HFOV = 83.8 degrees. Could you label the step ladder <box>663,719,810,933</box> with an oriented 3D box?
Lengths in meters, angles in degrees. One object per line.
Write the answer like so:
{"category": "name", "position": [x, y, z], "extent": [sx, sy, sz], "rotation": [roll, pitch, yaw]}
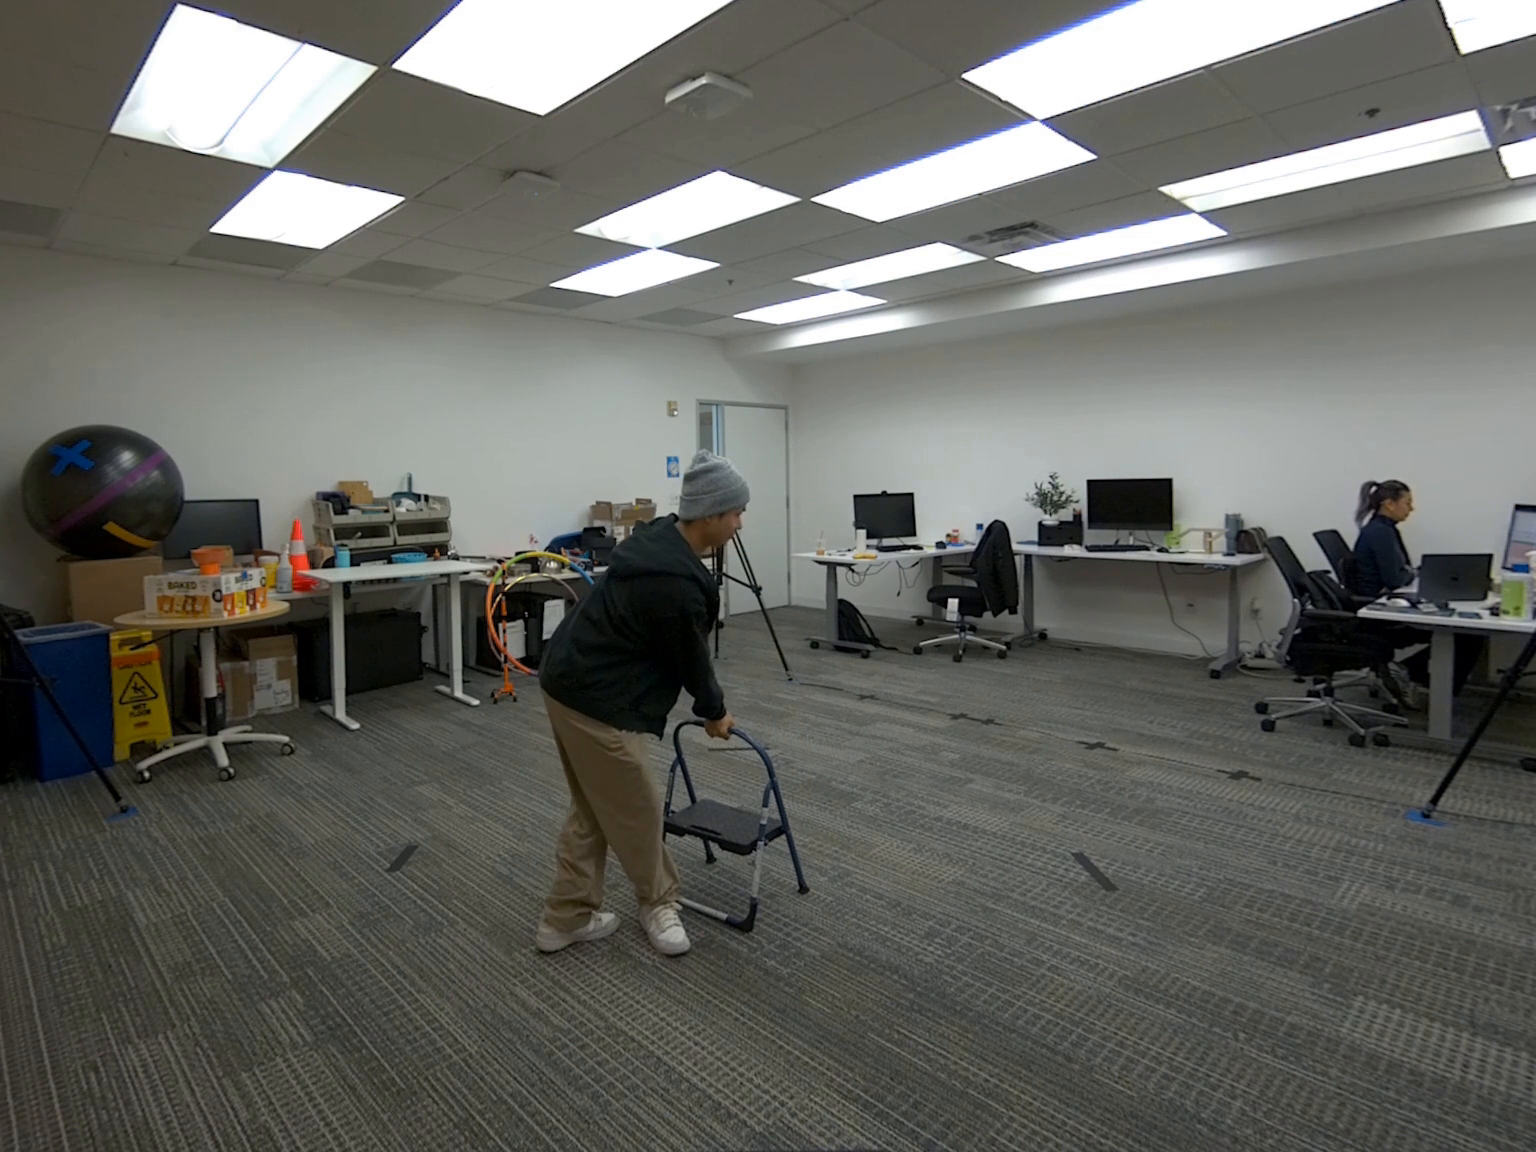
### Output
{"category": "step ladder", "position": [-0.134, 0.770, 2.867], "extent": [0.443, 0.604, 0.341], "rotation": [2, 5, 35]}
